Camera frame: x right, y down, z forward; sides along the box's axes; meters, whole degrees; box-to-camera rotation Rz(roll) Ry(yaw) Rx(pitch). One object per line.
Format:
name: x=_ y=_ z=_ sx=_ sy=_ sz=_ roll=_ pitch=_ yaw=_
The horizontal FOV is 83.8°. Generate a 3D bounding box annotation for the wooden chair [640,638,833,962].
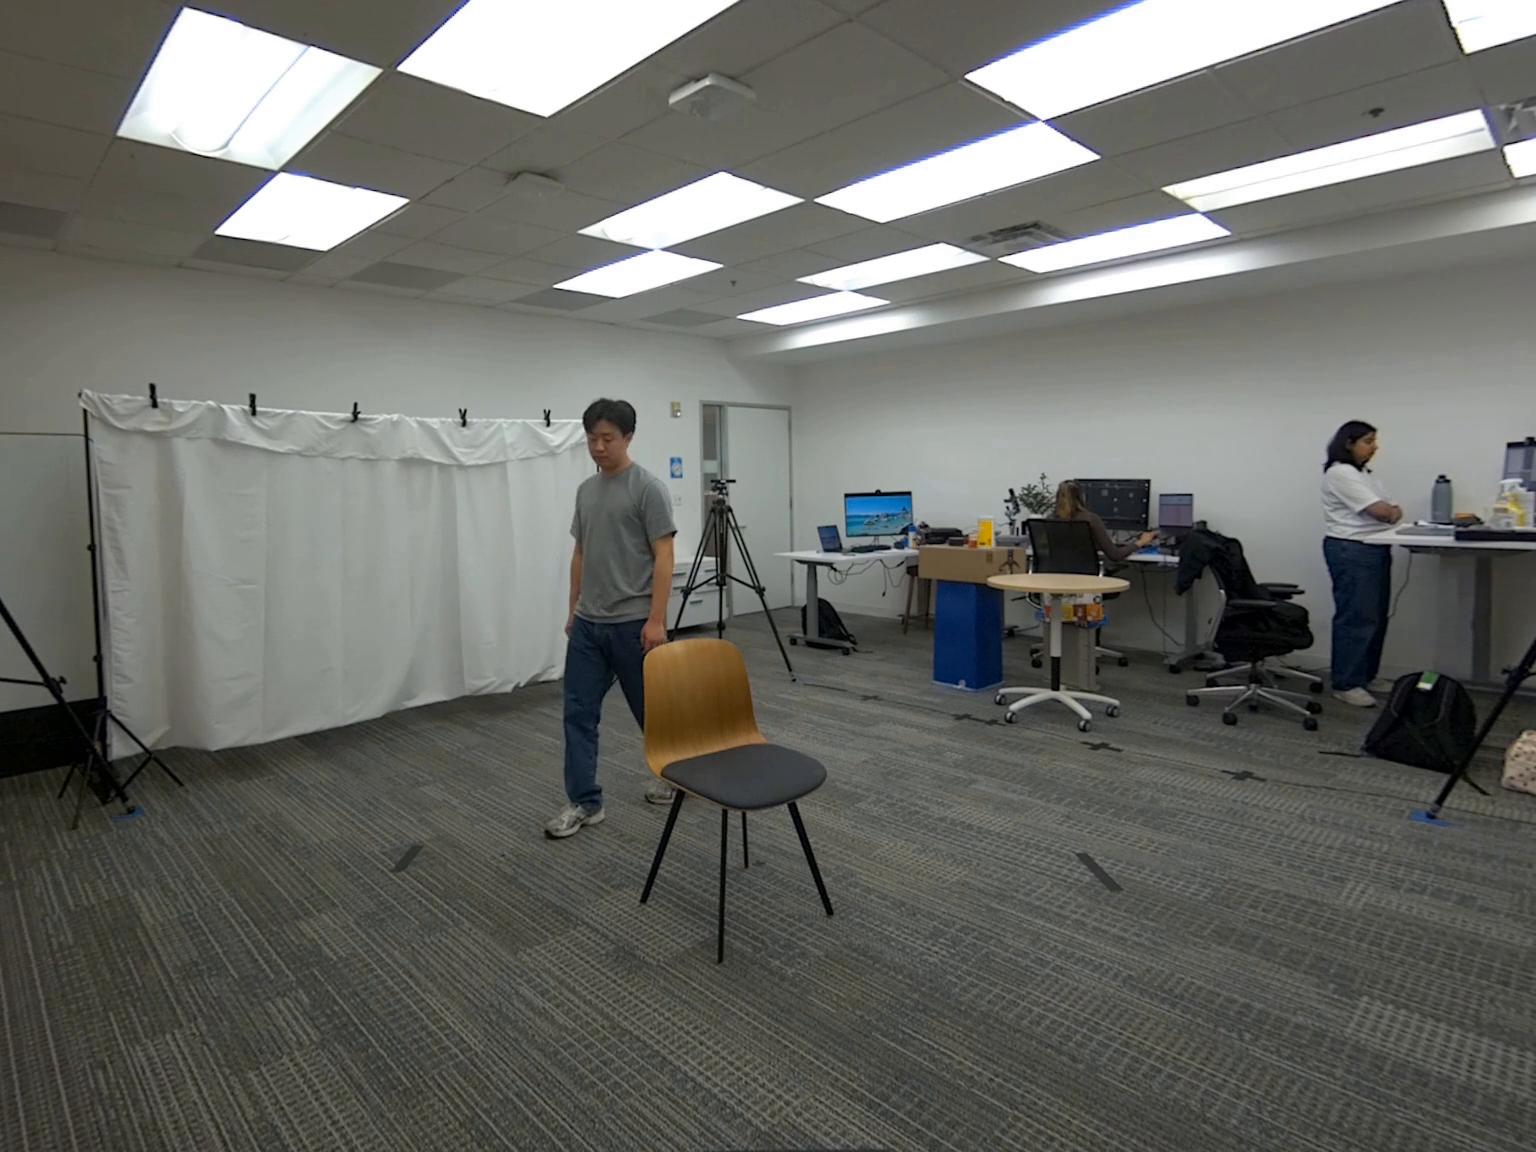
wooden chair: x=-0.105 y=0.664 z=2.741 sx=0.466 sy=0.877 sz=0.537 roll=-4 pitch=1 yaw=-38
